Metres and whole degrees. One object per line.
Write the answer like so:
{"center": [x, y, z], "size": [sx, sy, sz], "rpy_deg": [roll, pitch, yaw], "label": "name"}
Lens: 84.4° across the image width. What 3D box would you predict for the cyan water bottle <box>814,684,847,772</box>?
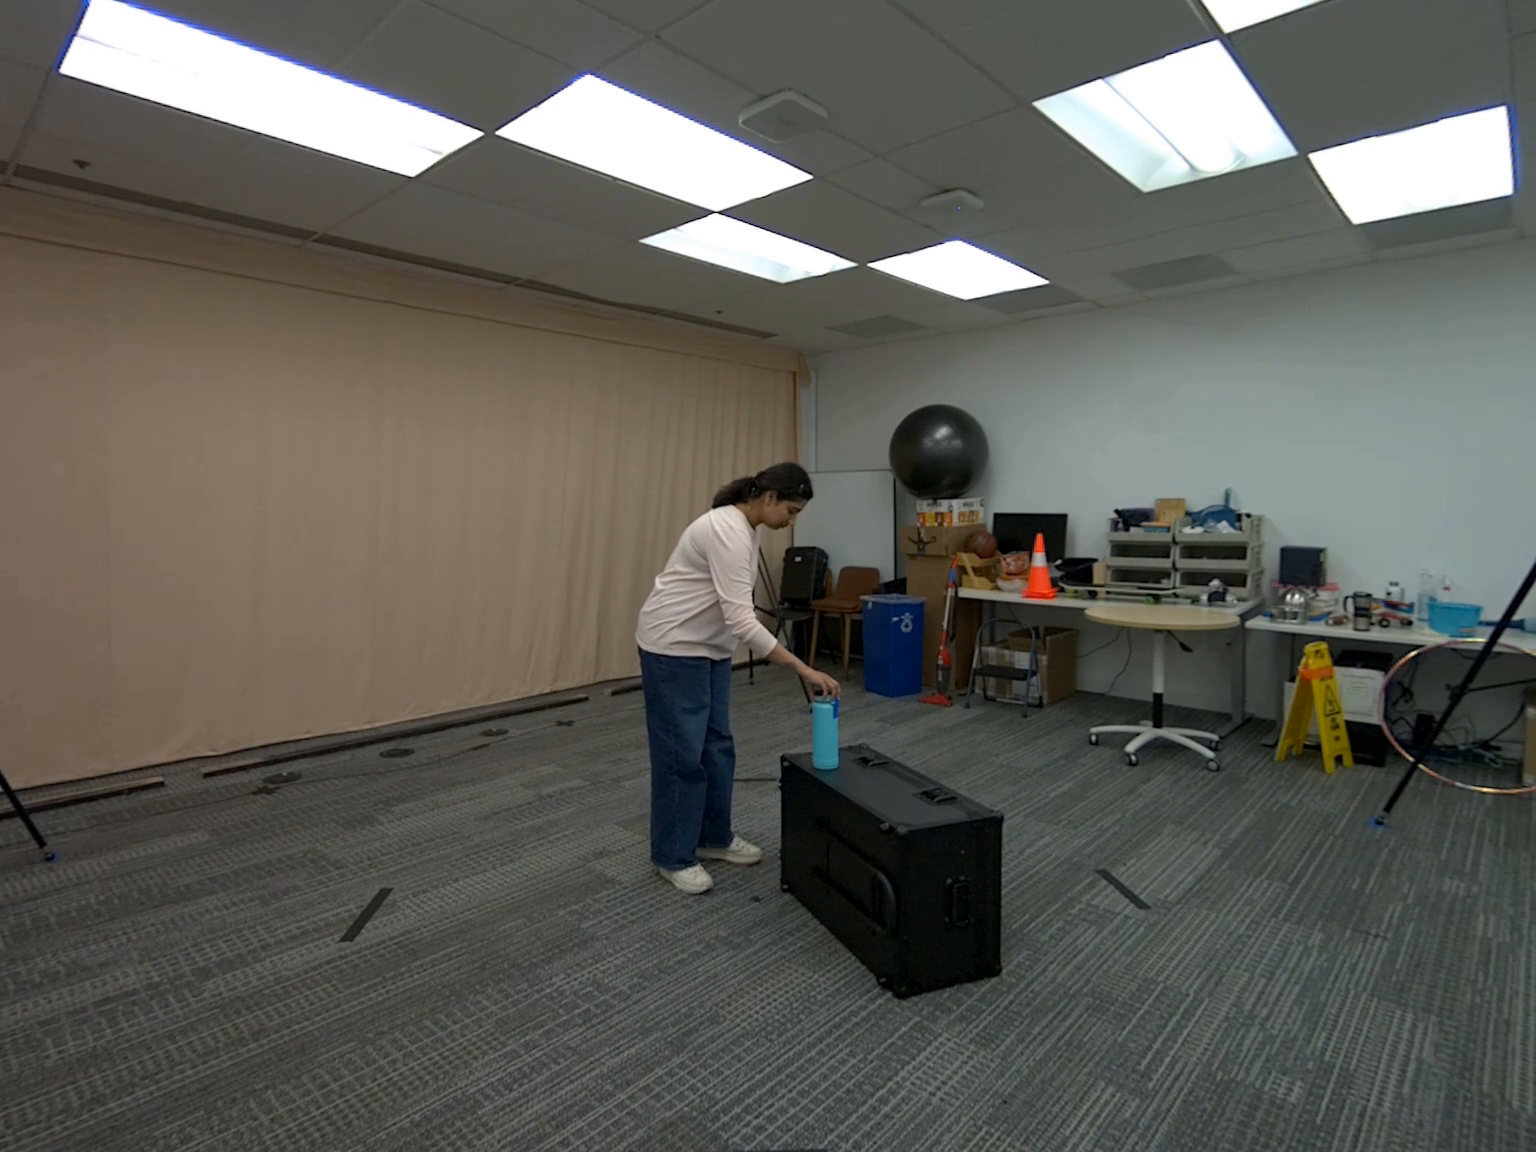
{"center": [0.214, 0.523, 2.937], "size": [0.092, 0.283, 0.092], "rpy_deg": [1, 2, -2], "label": "cyan water bottle"}
